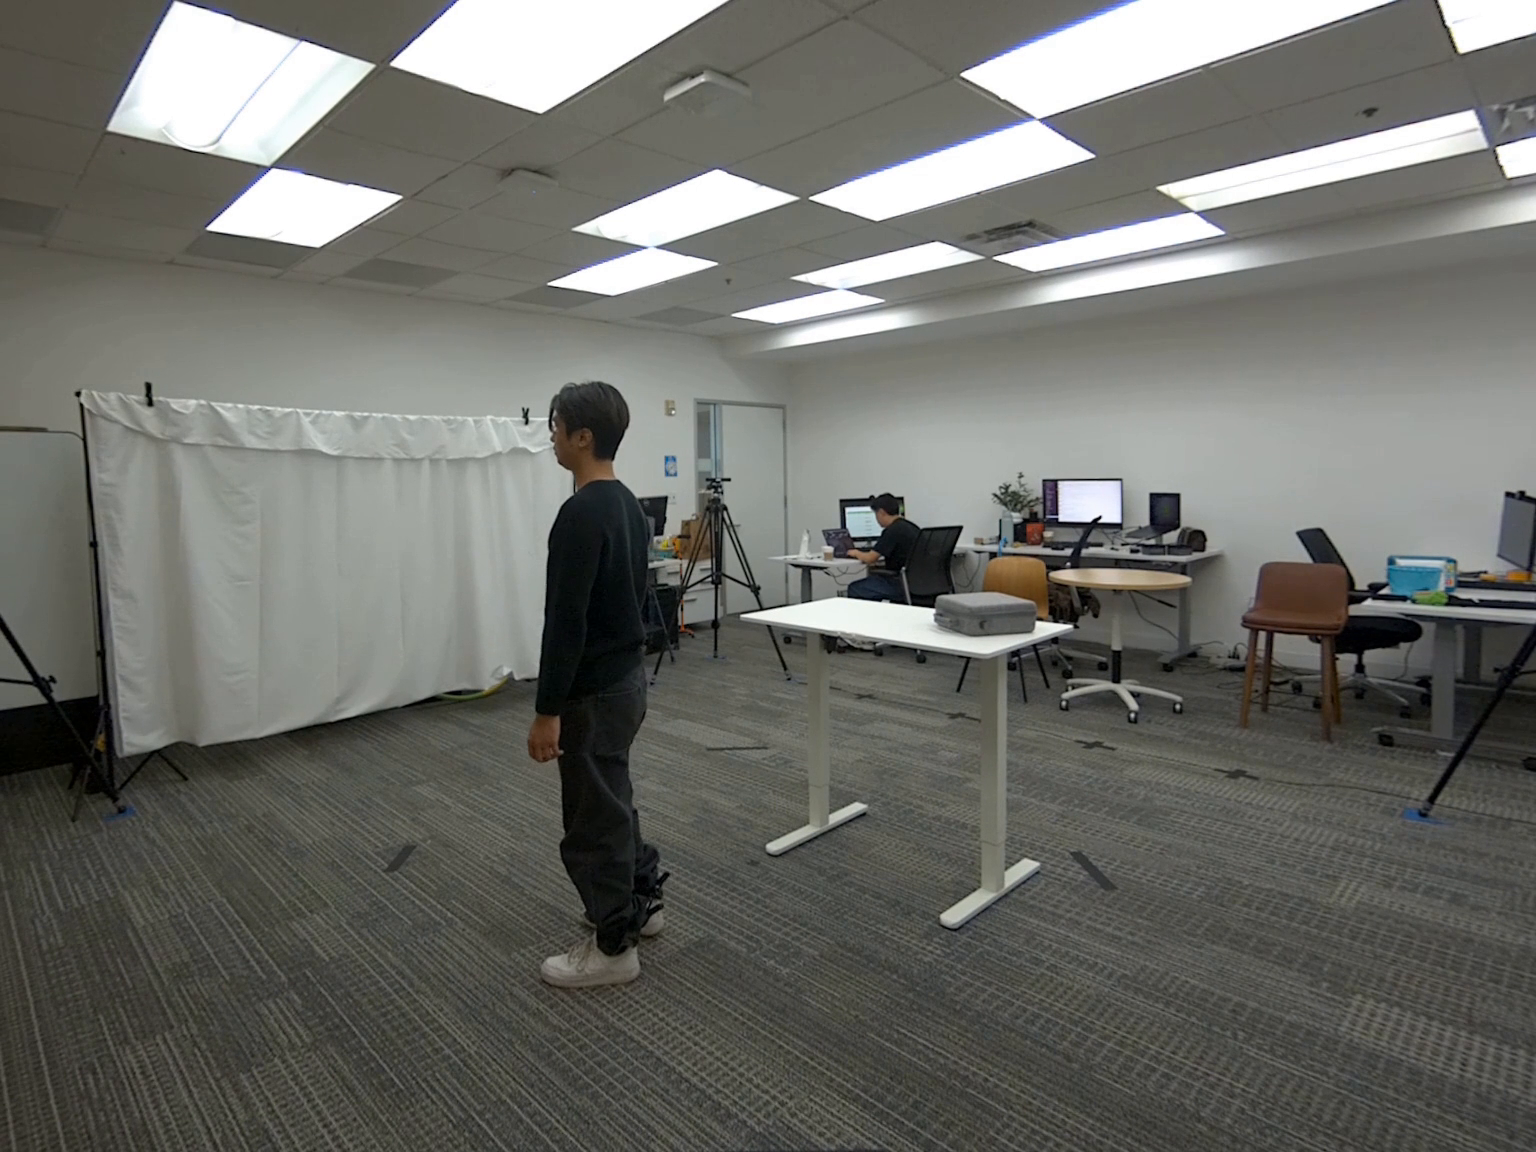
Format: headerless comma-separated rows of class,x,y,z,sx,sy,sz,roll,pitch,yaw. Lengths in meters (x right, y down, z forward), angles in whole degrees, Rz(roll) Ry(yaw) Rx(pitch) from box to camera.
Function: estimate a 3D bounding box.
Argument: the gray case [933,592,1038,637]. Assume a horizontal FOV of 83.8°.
gray case,0.723,0.123,2.853,0.257,0.104,0.262,-2,7,-15
